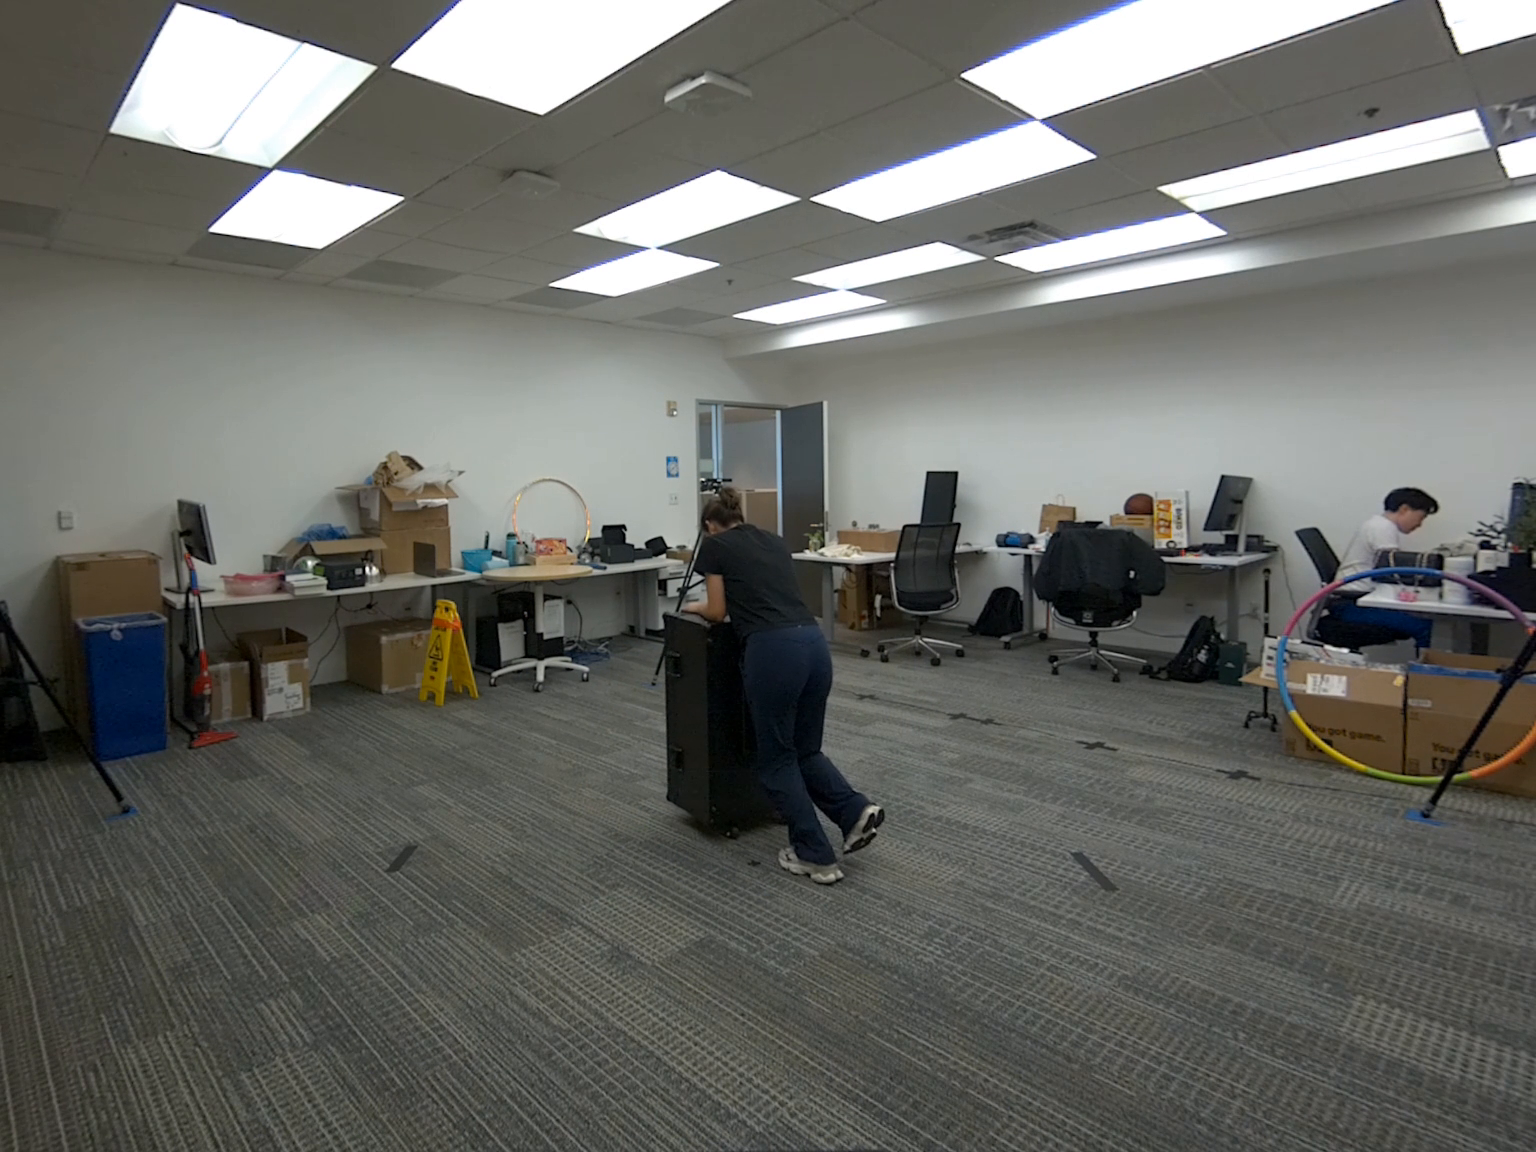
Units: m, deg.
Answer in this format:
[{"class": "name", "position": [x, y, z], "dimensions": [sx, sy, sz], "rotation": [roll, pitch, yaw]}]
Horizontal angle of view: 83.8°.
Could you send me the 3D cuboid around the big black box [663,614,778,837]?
[{"class": "big black box", "position": [-0.132, 0.519, 3.505], "dimensions": [0.508, 0.859, 0.407], "rotation": [-3, 4, -32]}]
